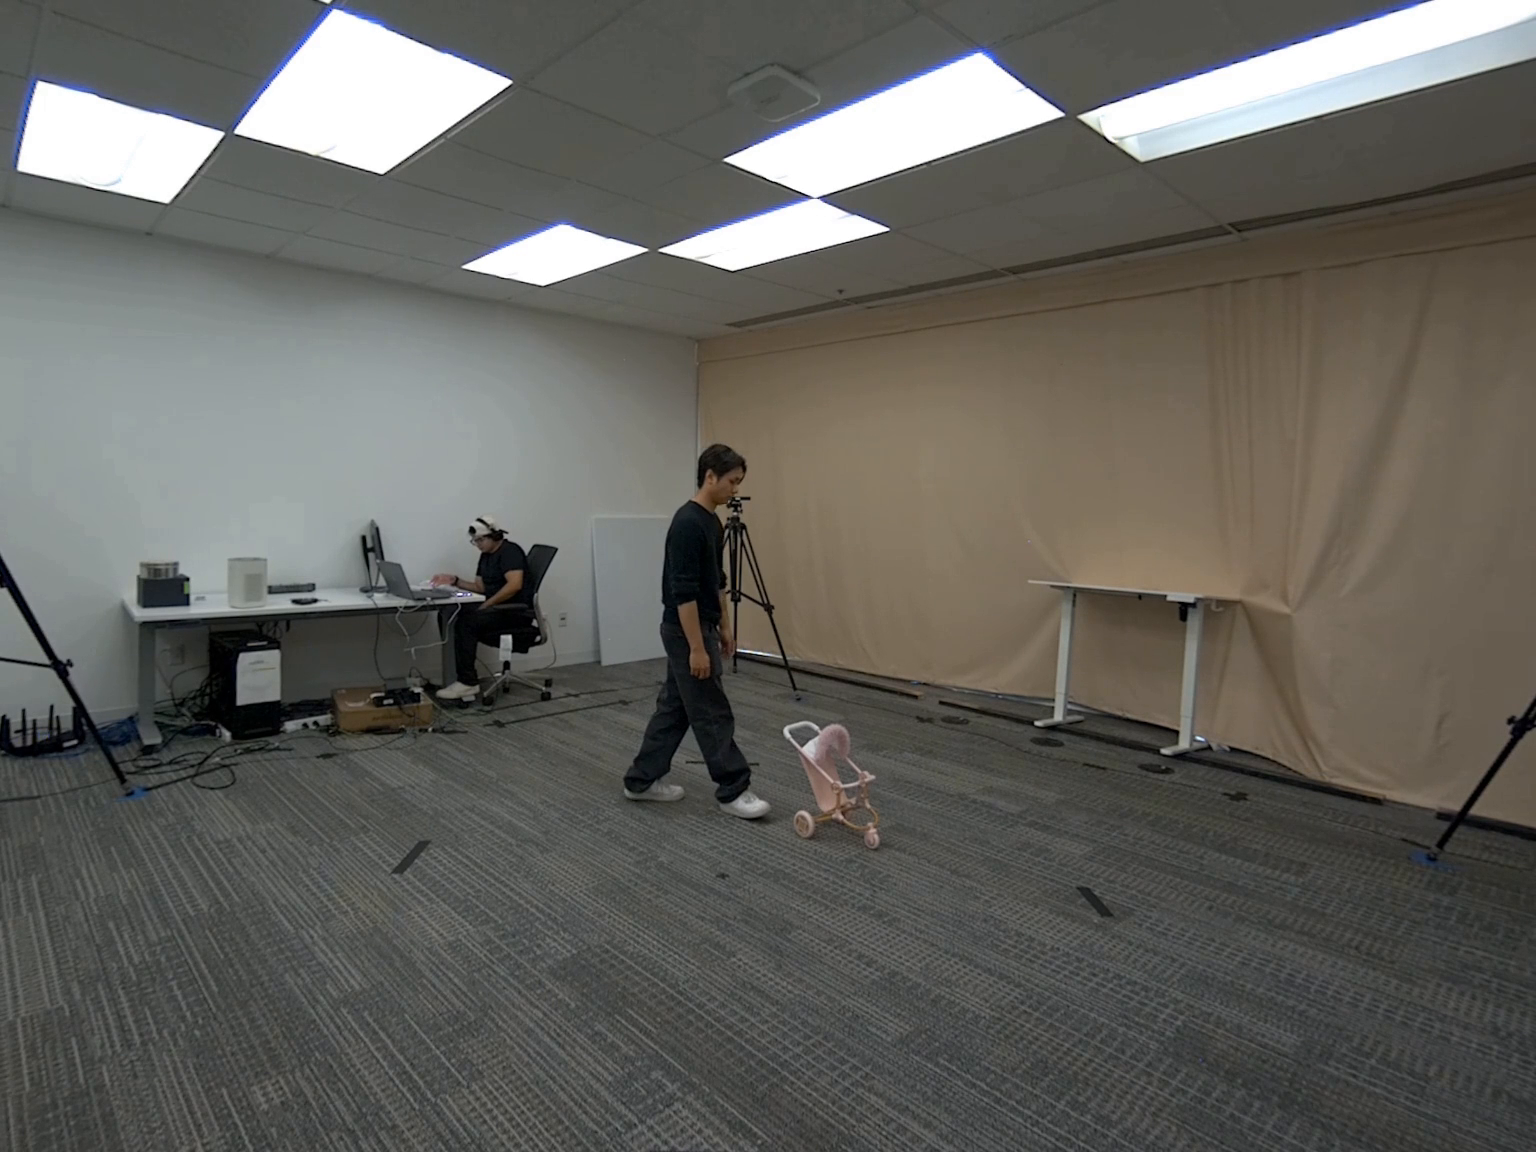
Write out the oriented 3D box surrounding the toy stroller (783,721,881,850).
[{"bbox_3d":[0.273,0.860,3.513,0.275,0.540,0.346,-2,-13,-41],"label":"toy stroller"}]
